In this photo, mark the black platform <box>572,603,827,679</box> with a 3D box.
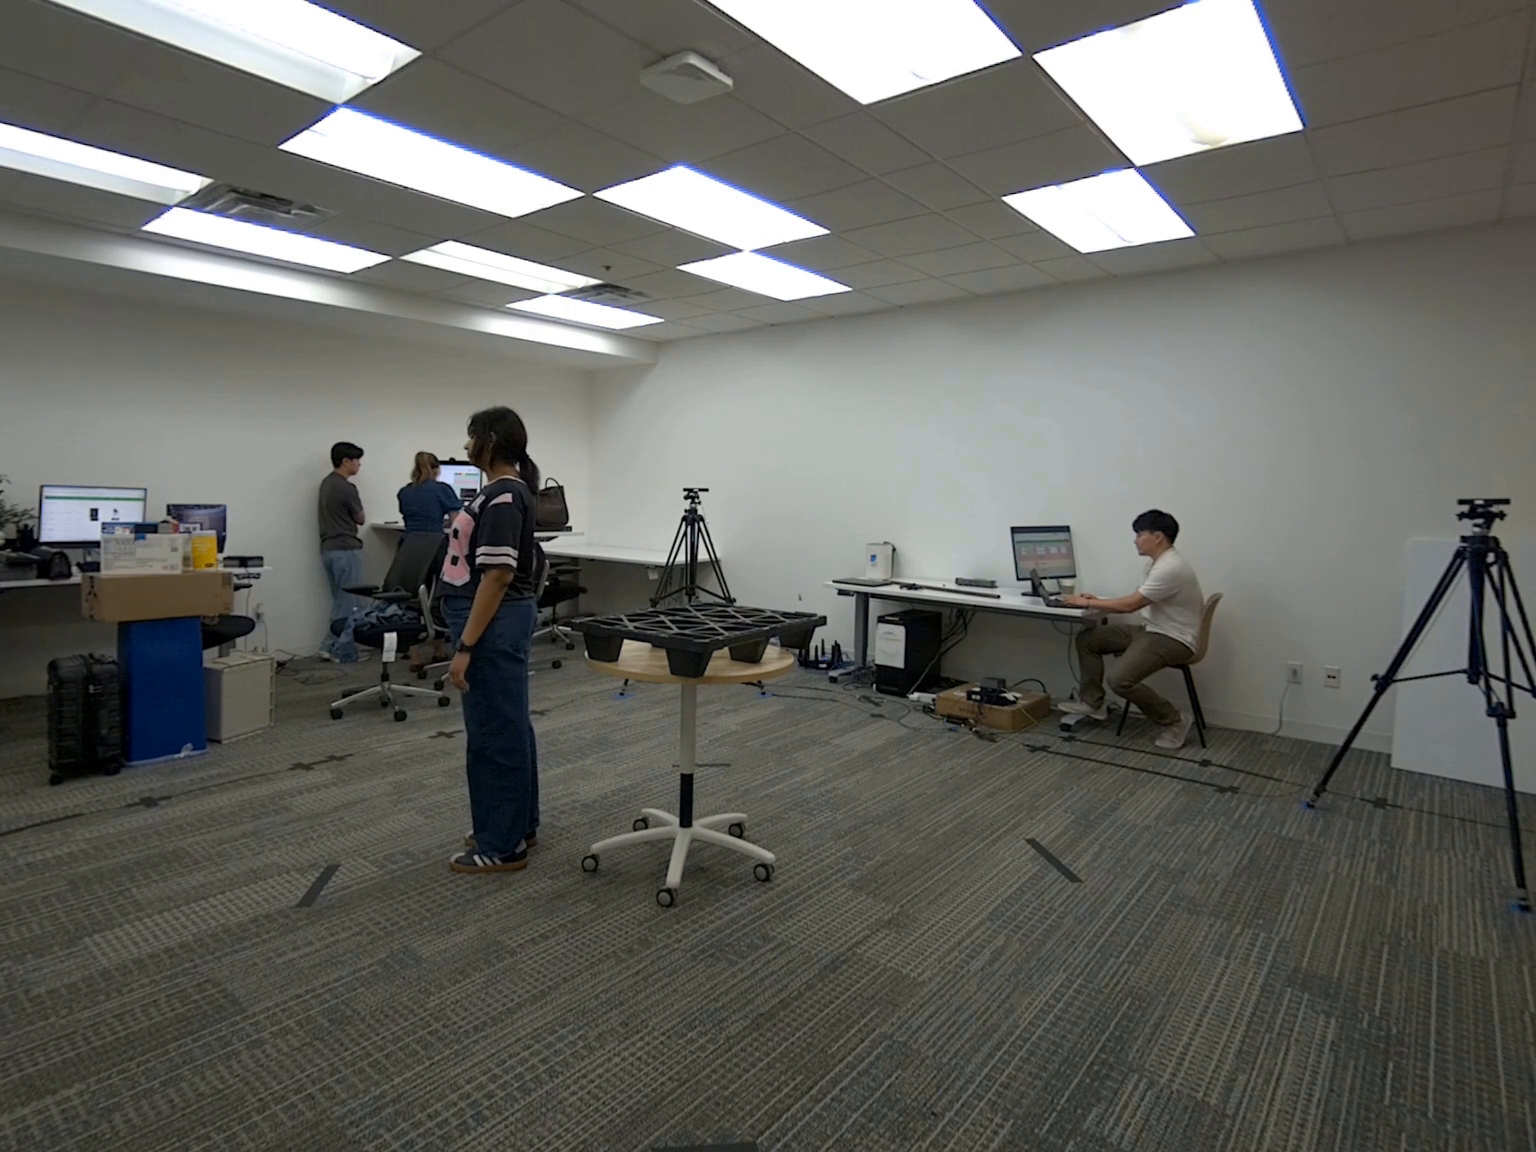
[{"bbox_3d":[-0.235,0.222,3.130,0.625,0.143,0.783,6,8,34],"label":"black platform"}]
